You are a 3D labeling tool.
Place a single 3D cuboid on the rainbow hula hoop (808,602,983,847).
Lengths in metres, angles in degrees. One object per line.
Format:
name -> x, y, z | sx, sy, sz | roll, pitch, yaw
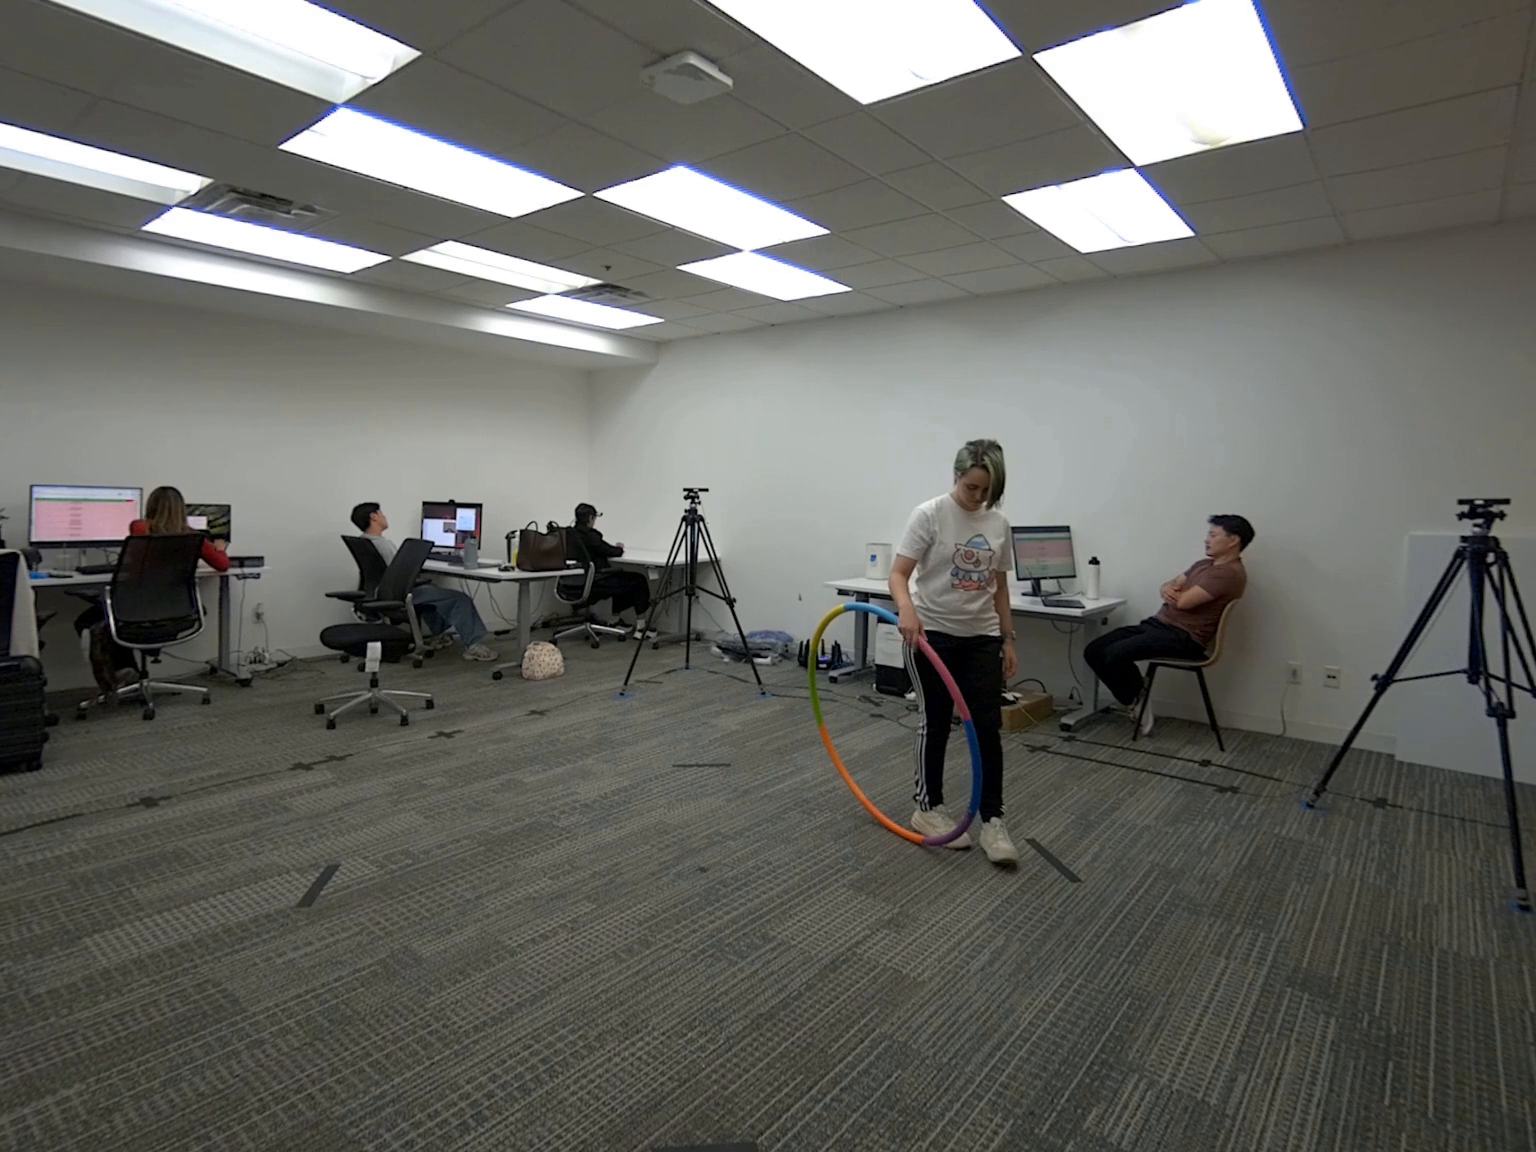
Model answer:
rainbow hula hoop -> 0.450, 0.576, 3.369 | 0.035, 0.967, 1.009 | -17, 13, -30
